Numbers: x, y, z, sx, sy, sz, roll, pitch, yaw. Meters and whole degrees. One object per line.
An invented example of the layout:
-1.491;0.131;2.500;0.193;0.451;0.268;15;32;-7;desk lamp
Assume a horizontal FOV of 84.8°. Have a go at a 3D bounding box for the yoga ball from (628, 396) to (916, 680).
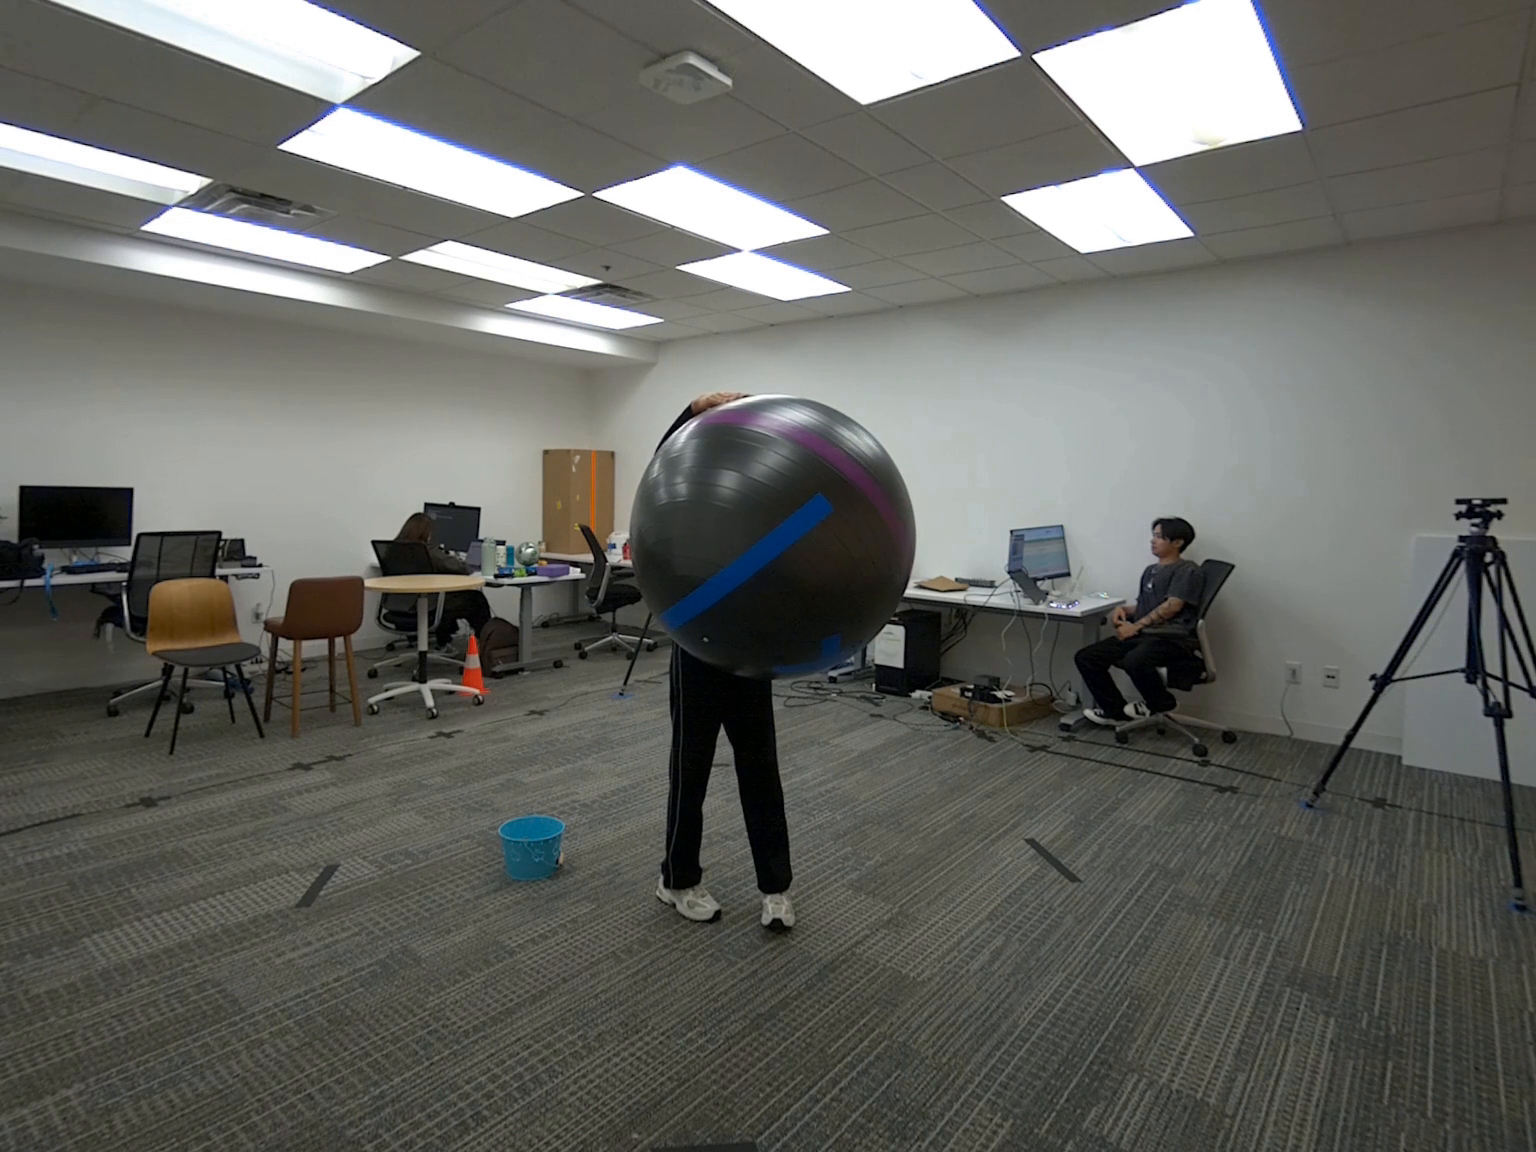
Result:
0.000;-0.105;2.279;0.757;0.755;0.762;1;4;-2;yoga ball
